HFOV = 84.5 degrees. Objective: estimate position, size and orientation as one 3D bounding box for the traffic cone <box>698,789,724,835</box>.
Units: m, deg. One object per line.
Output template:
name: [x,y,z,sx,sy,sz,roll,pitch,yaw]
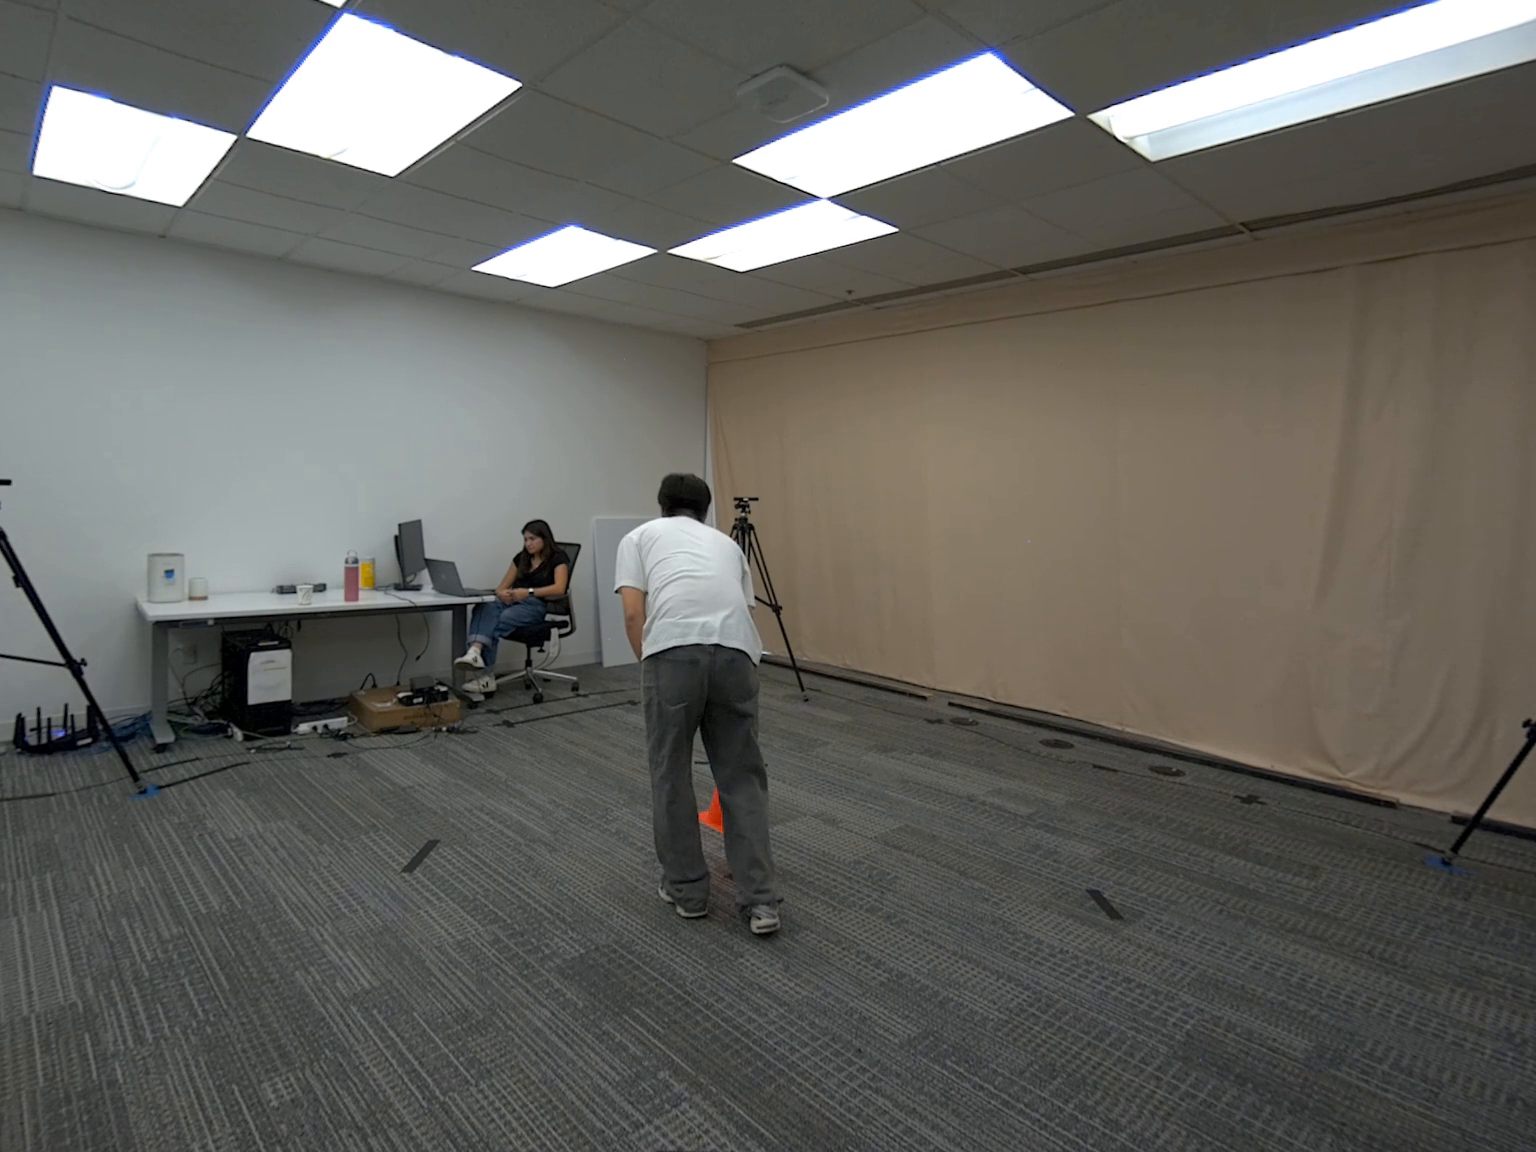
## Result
traffic cone: [-0.138,0.729,3.121,0.210,0.382,0.199,9,6,36]
